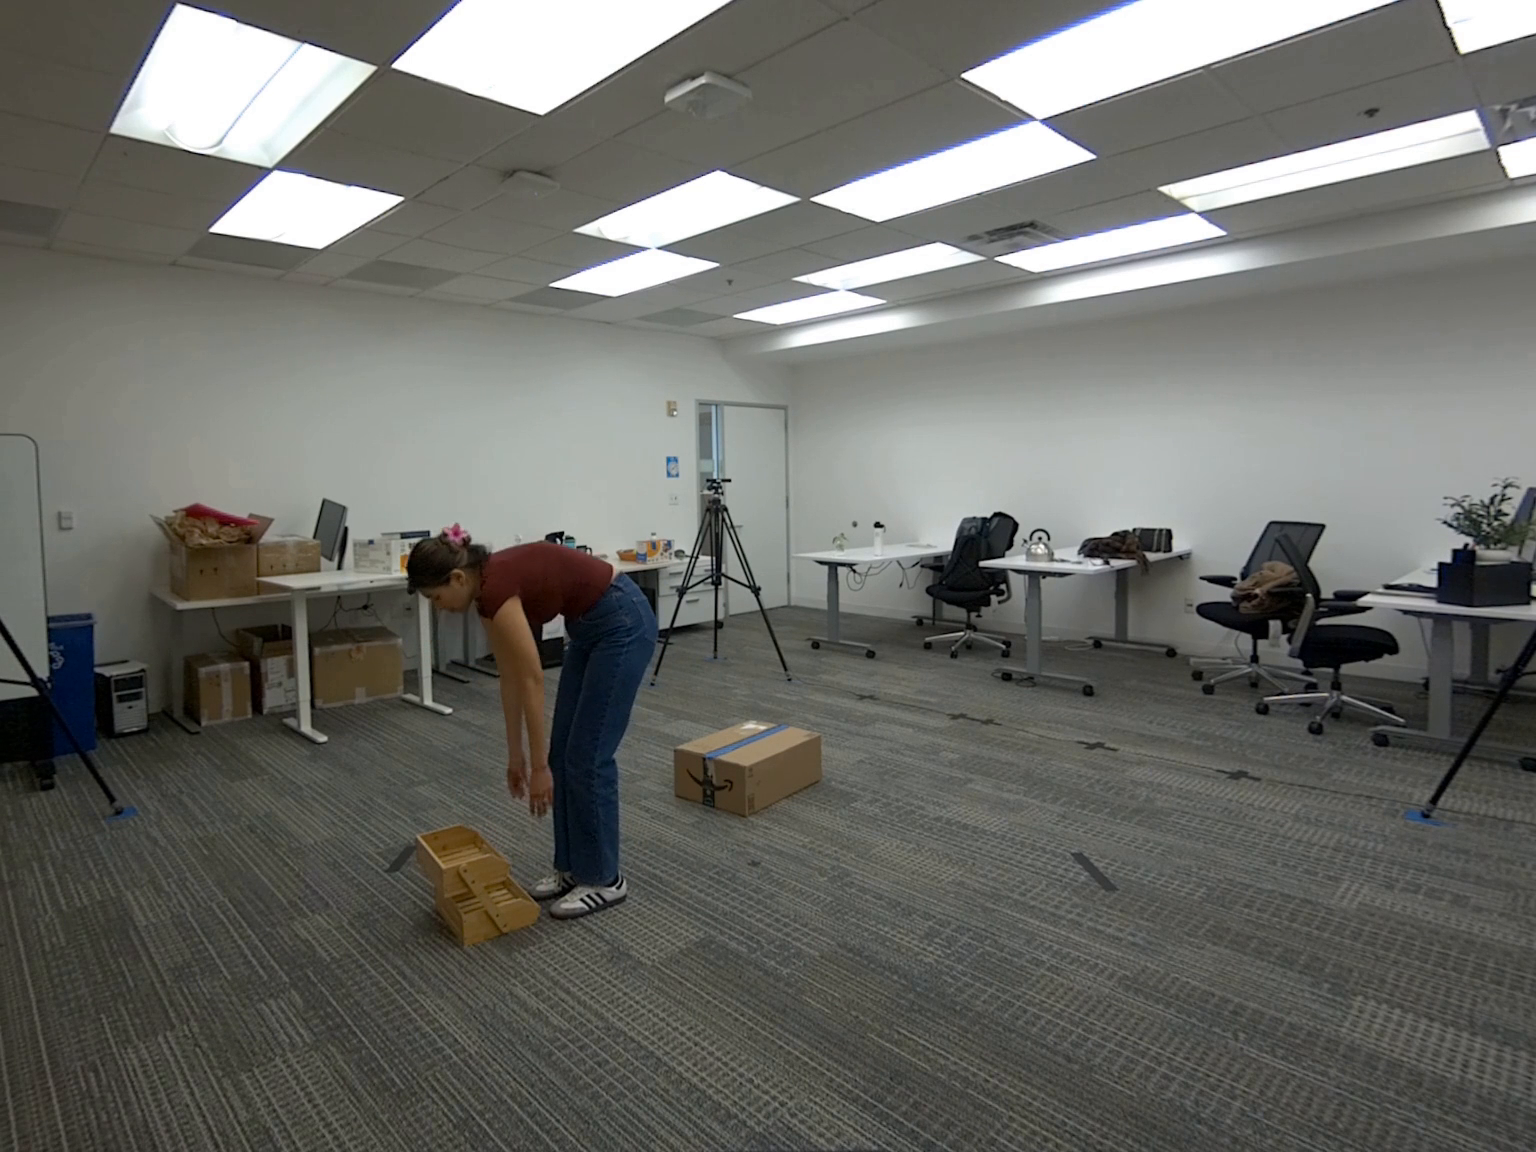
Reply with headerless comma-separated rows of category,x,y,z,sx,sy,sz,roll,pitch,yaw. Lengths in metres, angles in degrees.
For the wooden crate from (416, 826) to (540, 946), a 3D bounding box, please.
wooden crate,-0.941,0.963,2.753,0.294,0.272,0.334,-6,7,-36
